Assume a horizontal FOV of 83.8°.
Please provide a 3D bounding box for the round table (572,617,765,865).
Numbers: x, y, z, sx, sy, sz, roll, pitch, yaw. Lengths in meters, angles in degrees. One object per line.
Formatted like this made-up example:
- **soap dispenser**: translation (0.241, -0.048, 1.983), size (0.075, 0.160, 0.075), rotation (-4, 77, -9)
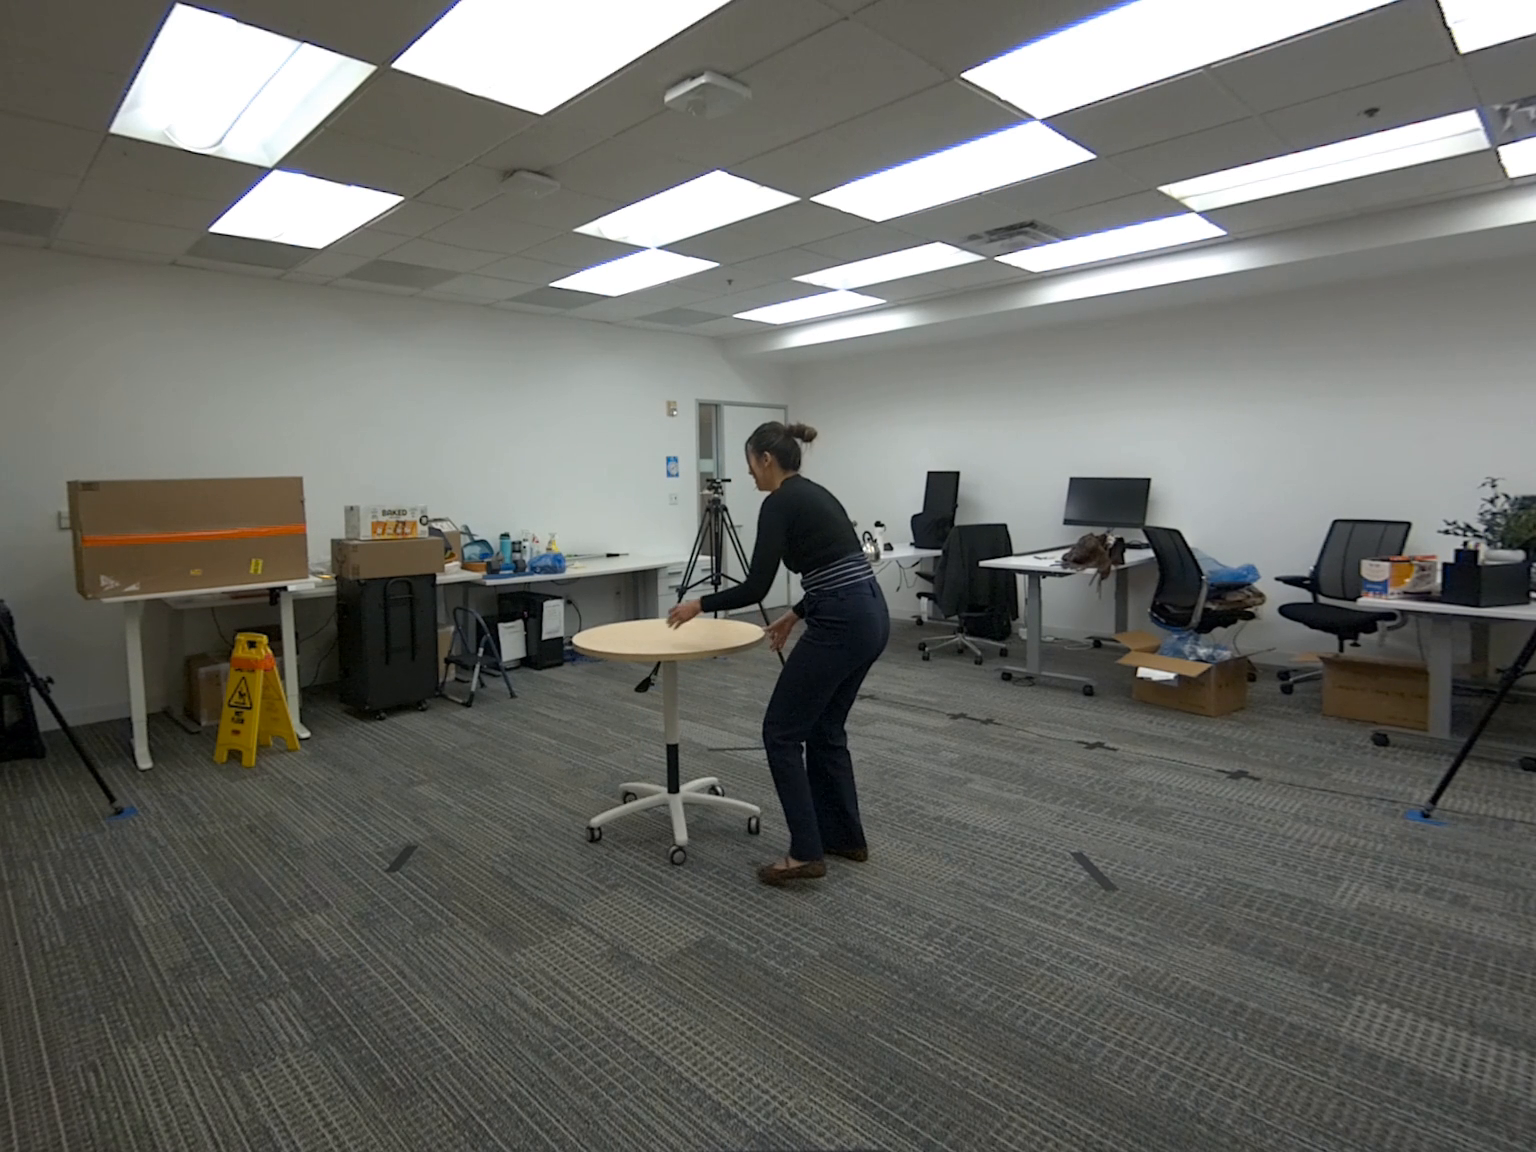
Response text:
- **round table**: translation (-0.389, 0.624, 3.430), size (0.763, 0.791, 0.767), rotation (-1, 4, -2)
